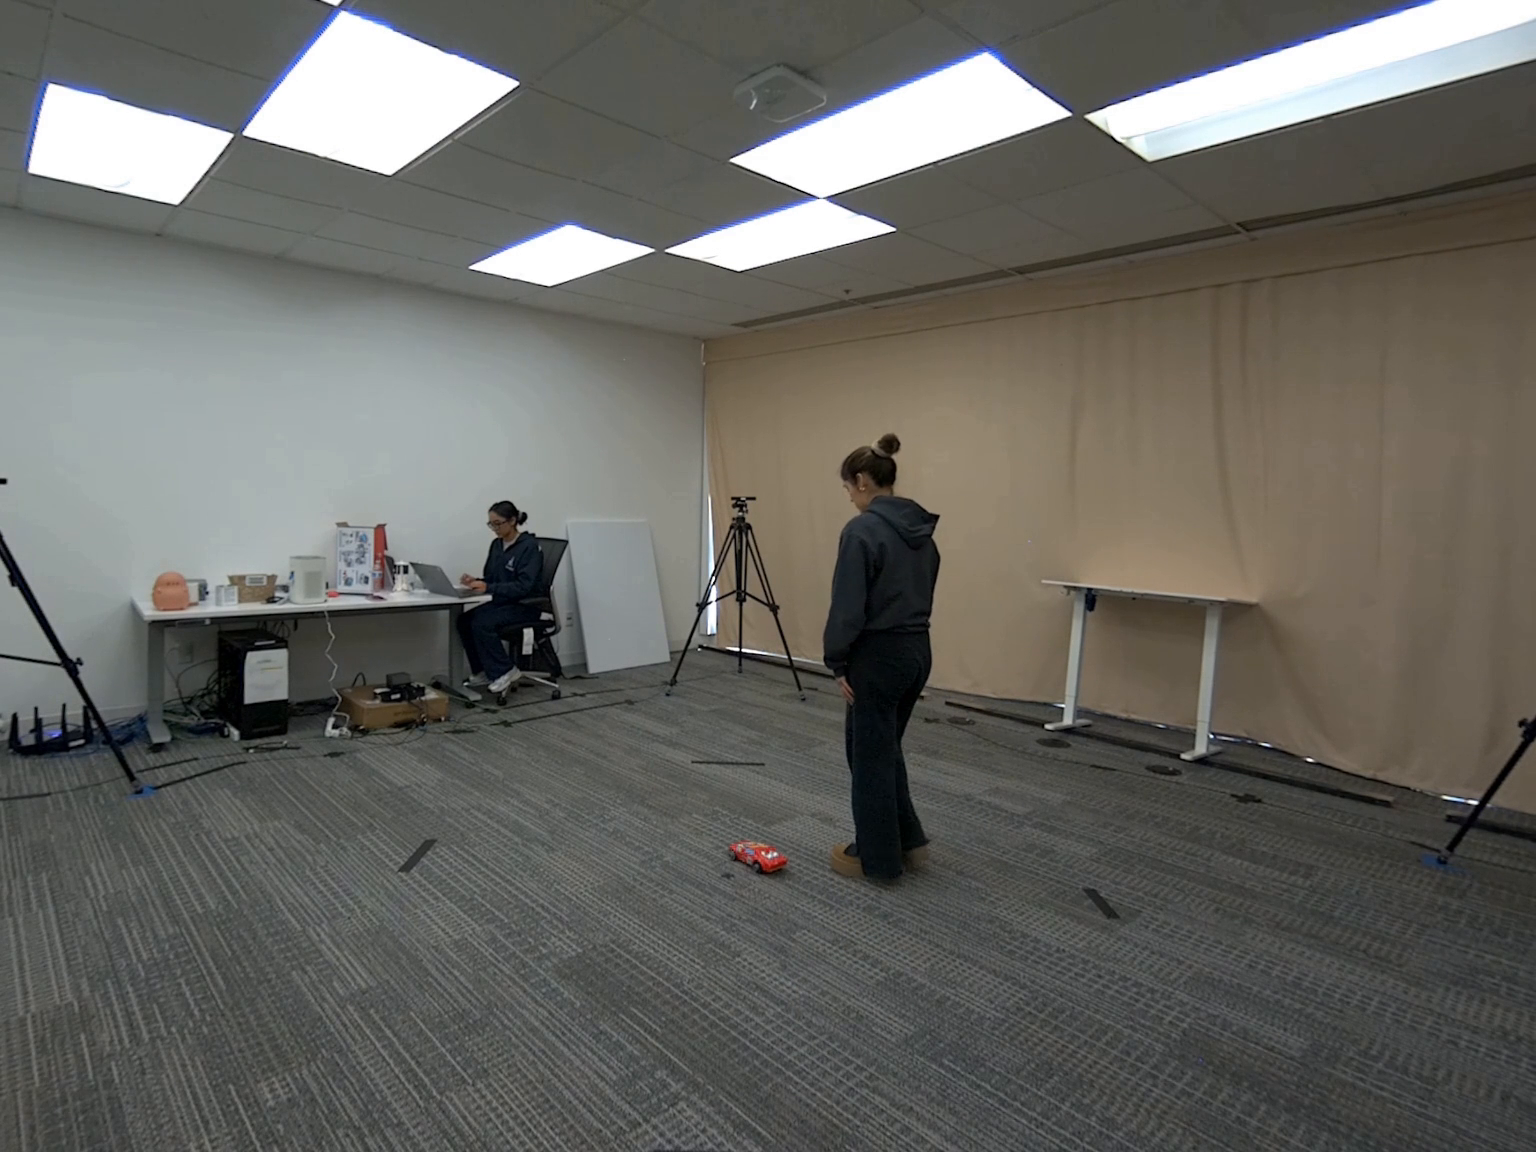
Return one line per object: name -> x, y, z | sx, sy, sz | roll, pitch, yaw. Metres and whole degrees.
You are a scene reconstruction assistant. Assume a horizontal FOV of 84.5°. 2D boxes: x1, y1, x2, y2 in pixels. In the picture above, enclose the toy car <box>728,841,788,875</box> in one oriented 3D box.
toy car -> -0.041, 1.062, 3.219 | 0.127, 0.083, 0.259 | -2, -4, -42
